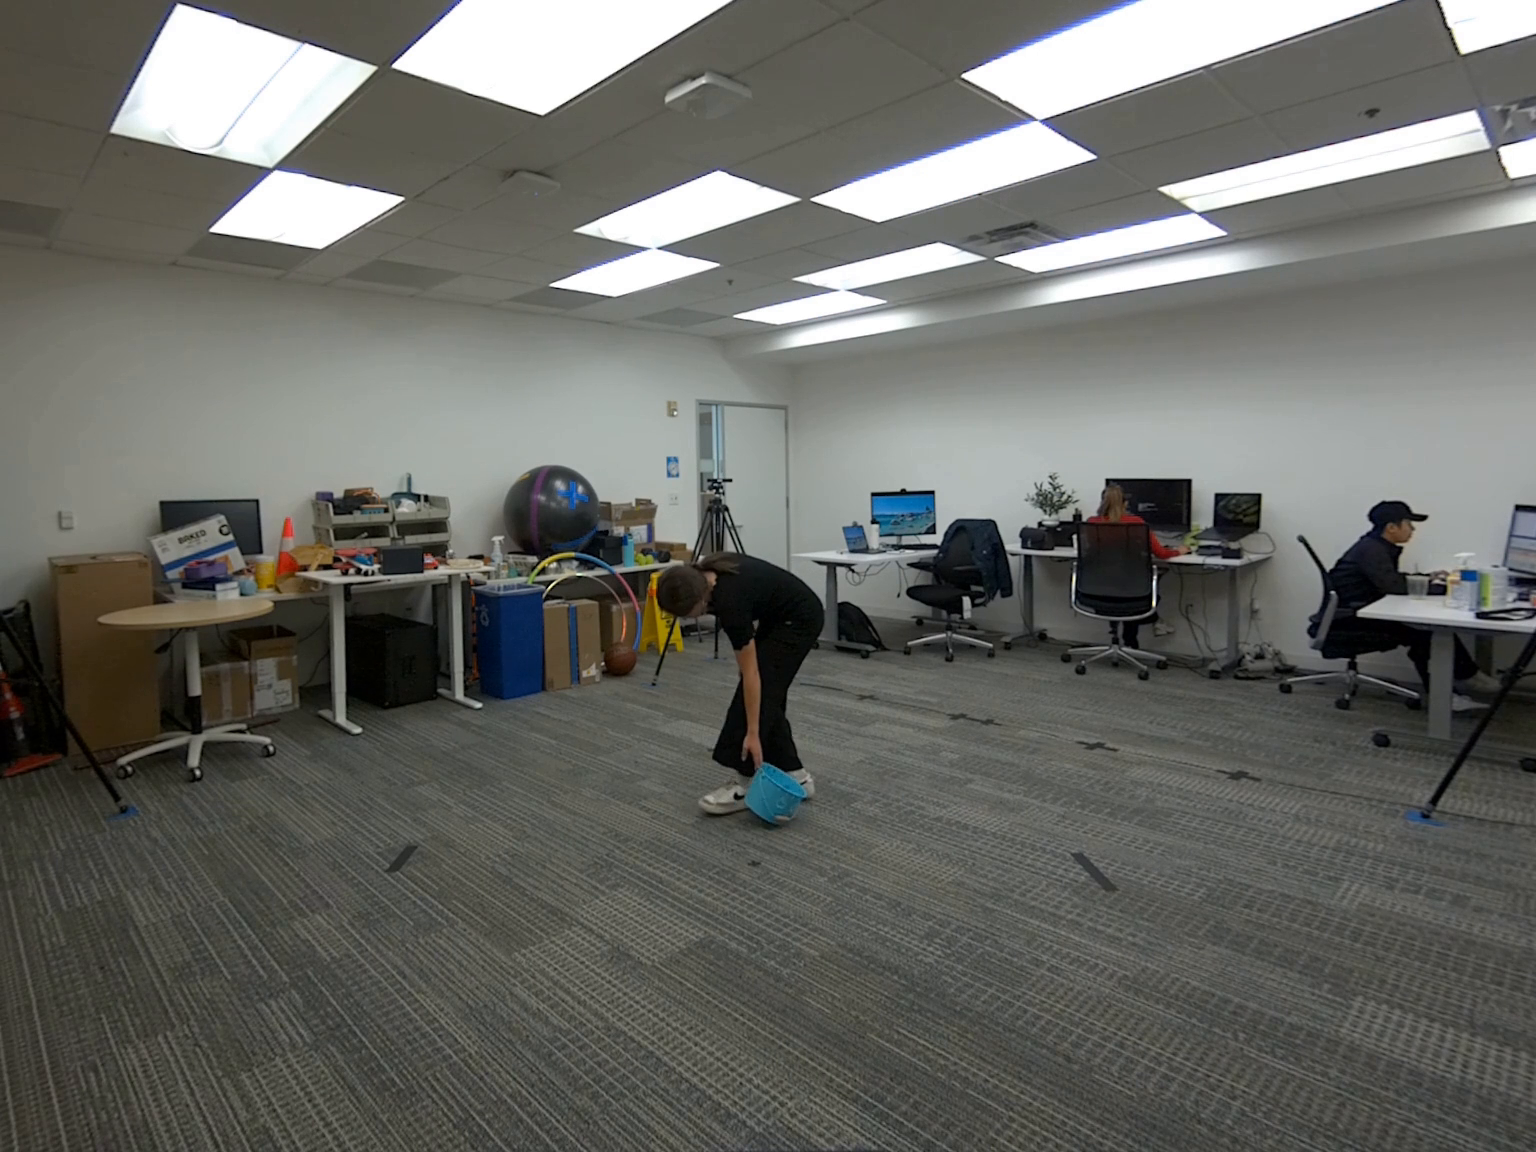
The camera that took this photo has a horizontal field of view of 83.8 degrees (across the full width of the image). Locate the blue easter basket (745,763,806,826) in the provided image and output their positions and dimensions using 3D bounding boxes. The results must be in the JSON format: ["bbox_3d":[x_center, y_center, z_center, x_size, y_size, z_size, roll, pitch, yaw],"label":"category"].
[{"bbox_3d":[0.021,0.898,3.476,0.243,0.156,0.245,29,3,-4],"label":"blue easter basket"}]
